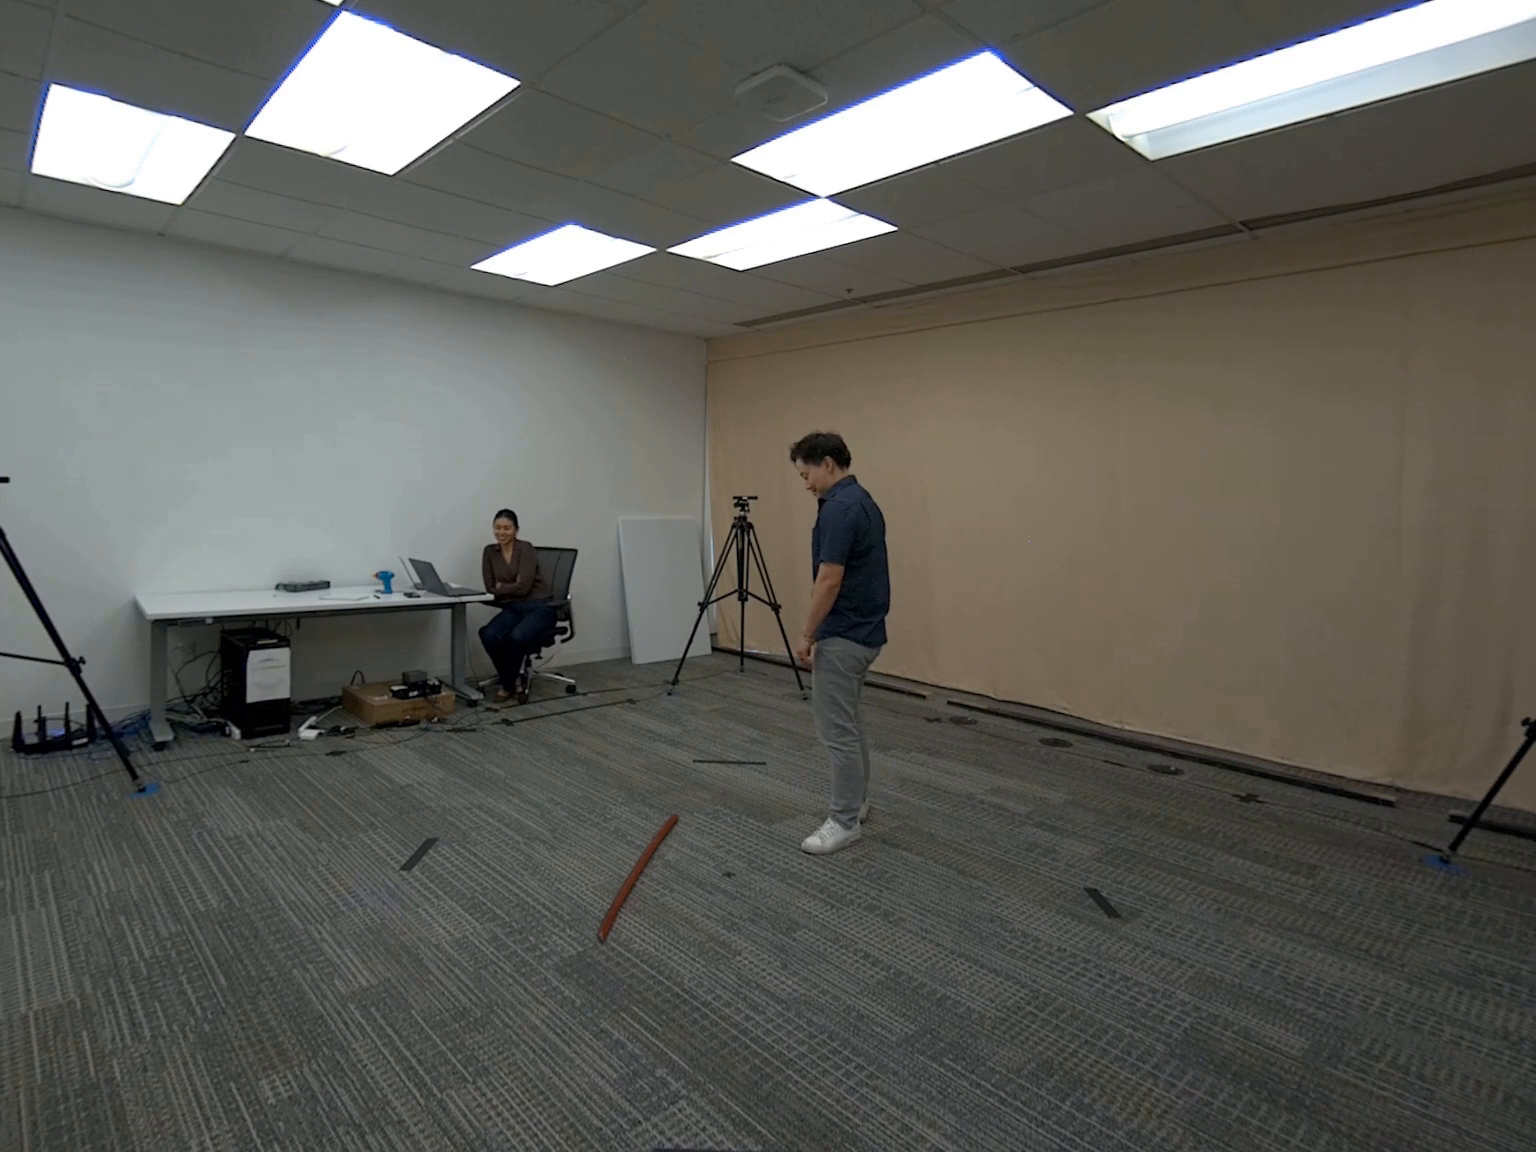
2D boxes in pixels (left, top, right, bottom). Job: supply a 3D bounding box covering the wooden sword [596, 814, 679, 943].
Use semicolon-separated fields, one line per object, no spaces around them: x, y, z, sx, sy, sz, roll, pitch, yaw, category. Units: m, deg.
-0.471;1.075;3.107;0.051;0.024;1.021;1;6;7;wooden sword
